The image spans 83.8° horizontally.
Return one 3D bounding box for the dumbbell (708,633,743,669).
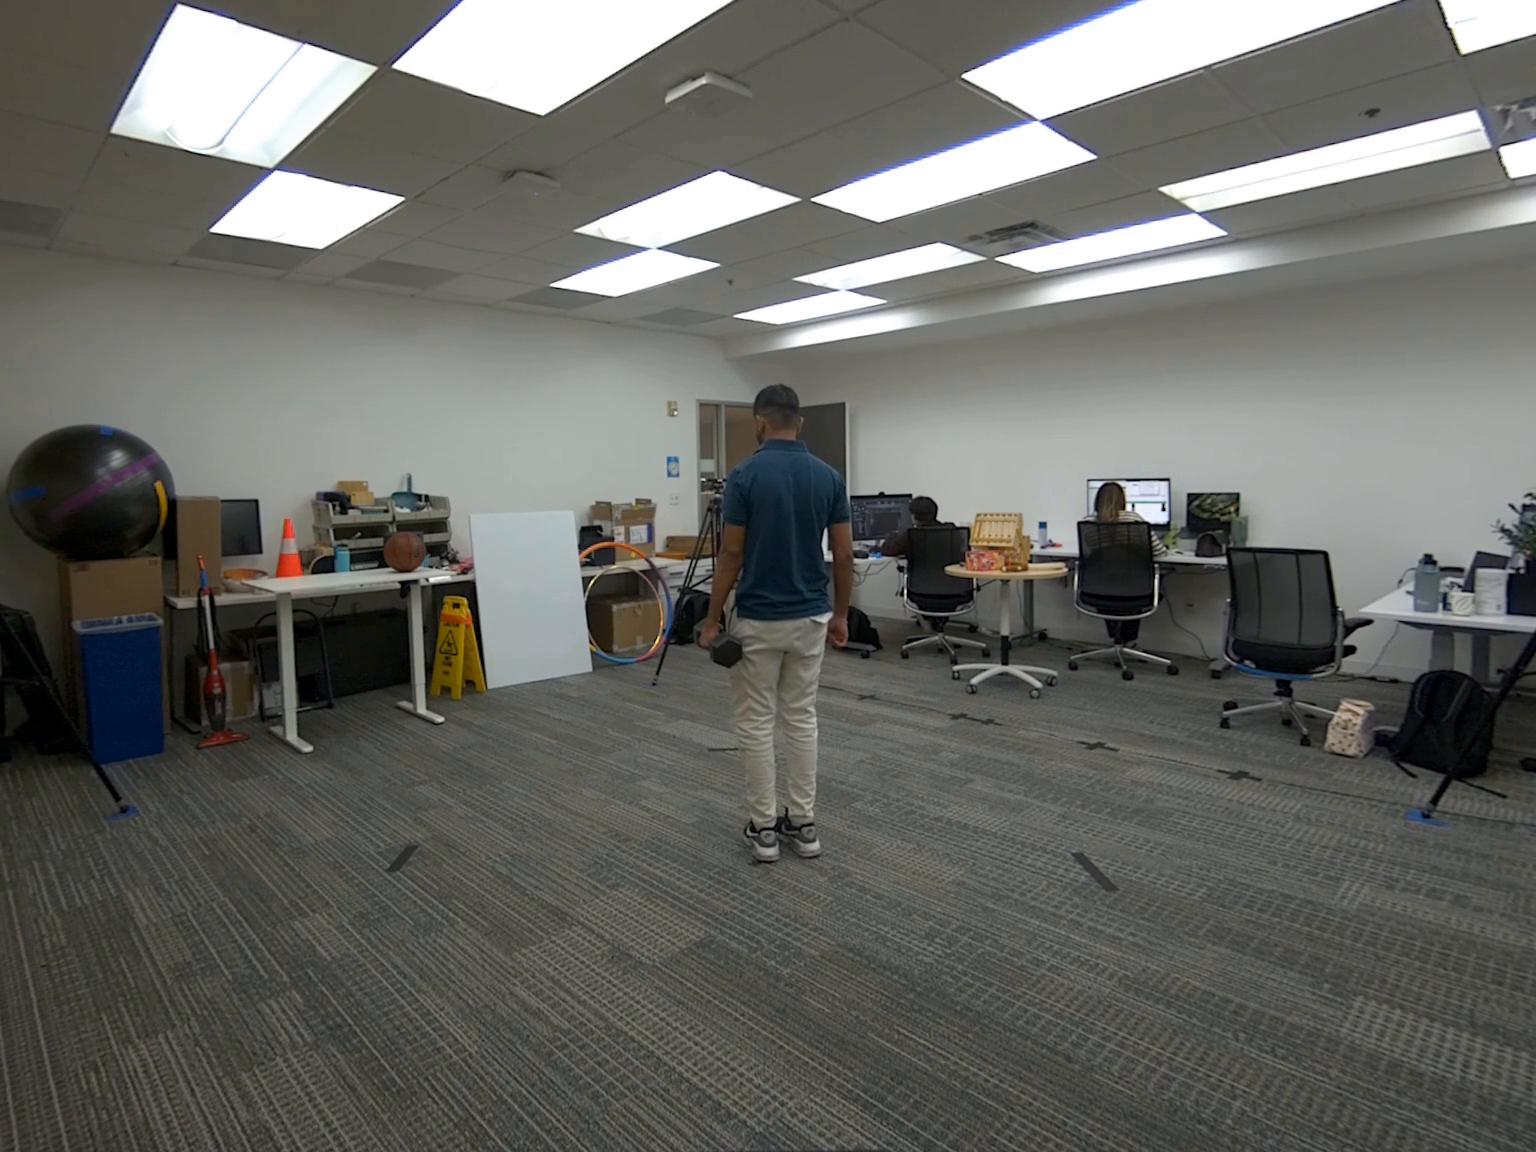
[{"bbox_3d":[-0.183,0.245,3.157,0.107,0.122,0.301,-6,12,-20],"label":"dumbbell"}]
